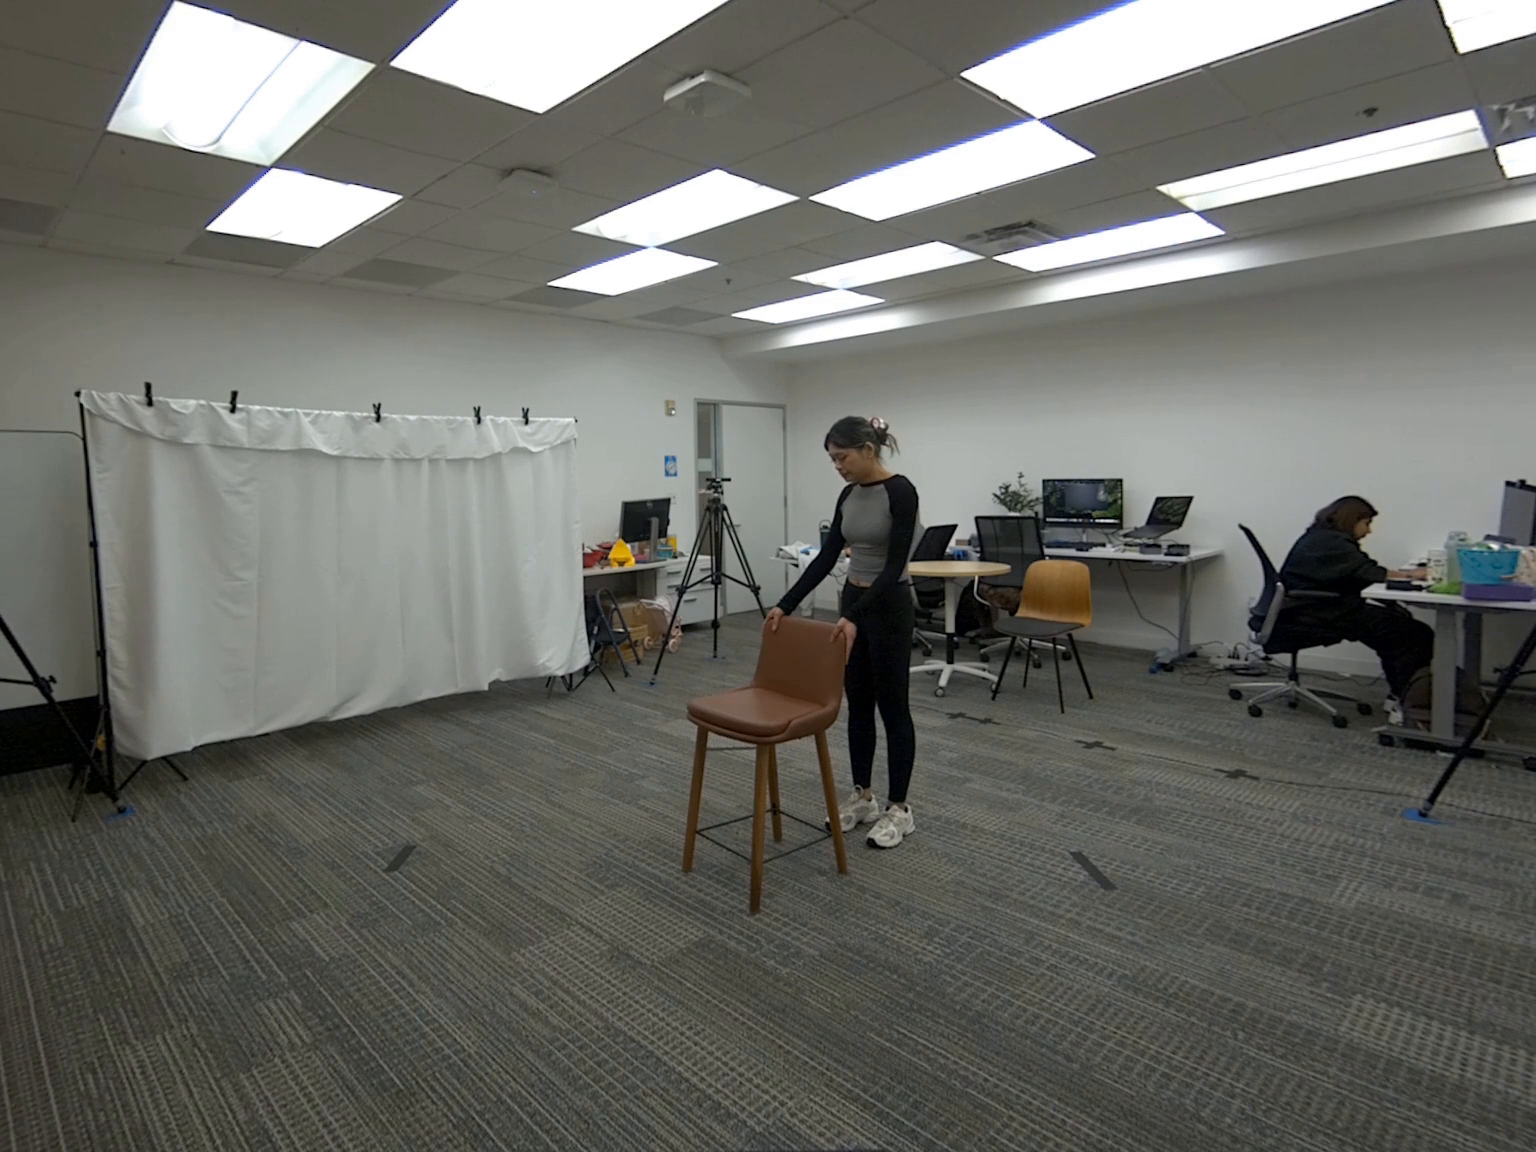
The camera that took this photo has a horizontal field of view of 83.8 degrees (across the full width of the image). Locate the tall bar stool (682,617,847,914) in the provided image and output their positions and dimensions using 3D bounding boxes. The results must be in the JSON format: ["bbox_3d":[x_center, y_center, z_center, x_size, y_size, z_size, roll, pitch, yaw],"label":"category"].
[{"bbox_3d":[-0.001,0.613,3.007,0.454,0.888,0.470,-1,3,-40],"label":"tall bar stool"}]
